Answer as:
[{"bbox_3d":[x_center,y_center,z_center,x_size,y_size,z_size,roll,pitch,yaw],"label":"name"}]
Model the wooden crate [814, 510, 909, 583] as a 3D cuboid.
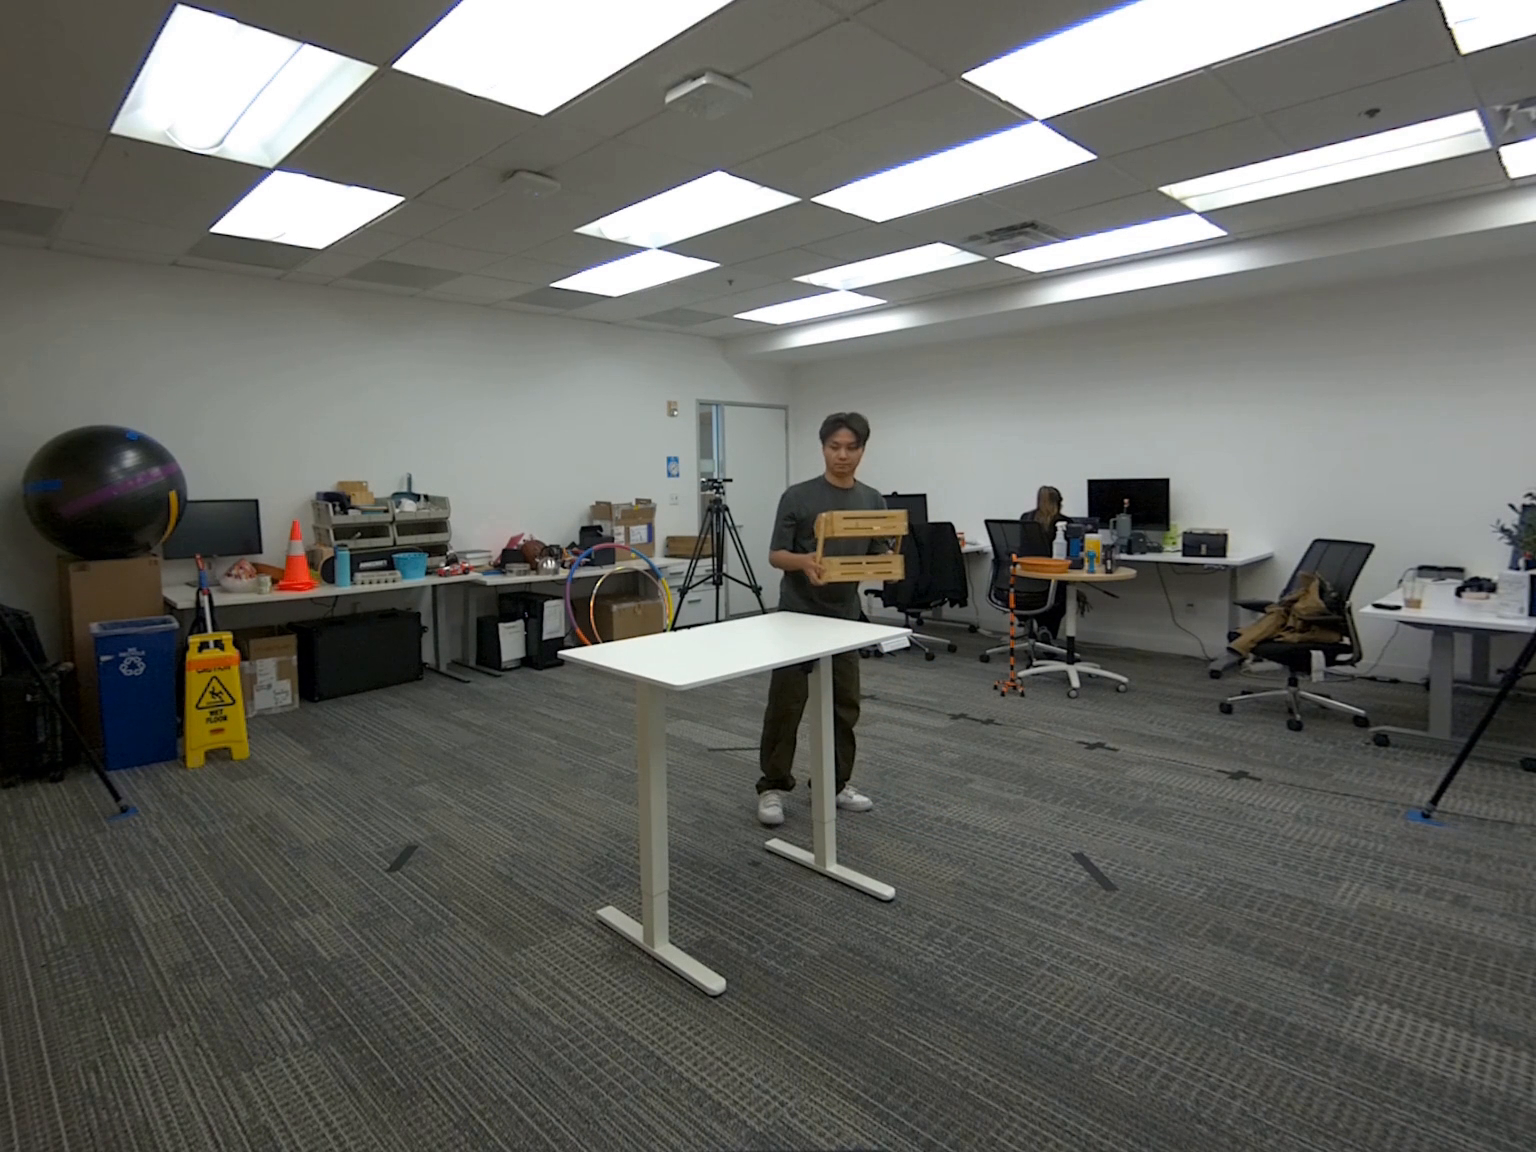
[{"bbox_3d":[0.339,-0.114,3.315,0.321,0.274,0.305,-2,-1,-13],"label":"wooden crate"}]
